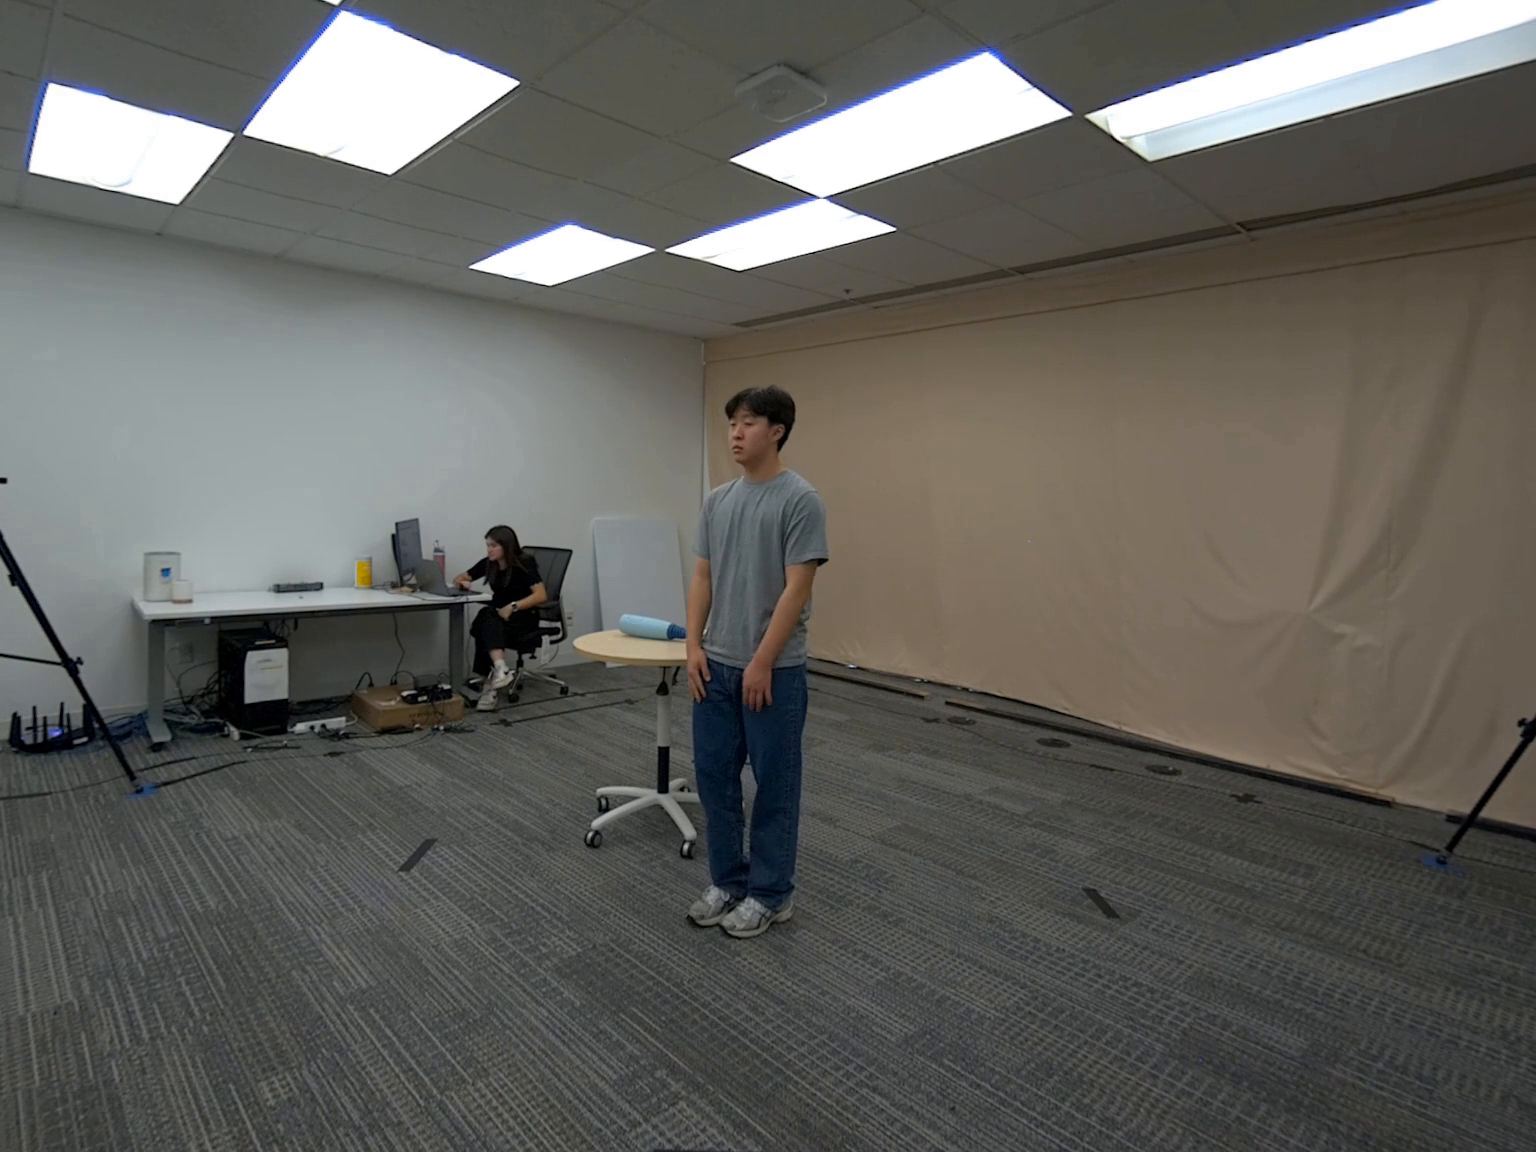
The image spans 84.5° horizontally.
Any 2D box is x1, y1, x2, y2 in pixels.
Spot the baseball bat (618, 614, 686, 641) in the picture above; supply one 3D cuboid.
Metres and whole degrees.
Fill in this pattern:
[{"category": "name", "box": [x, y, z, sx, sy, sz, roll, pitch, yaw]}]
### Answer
[{"category": "baseball bat", "box": [-0.401, 0.243, 3.558, 0.554, 0.089, 0.087, 8, 6, 25]}]
